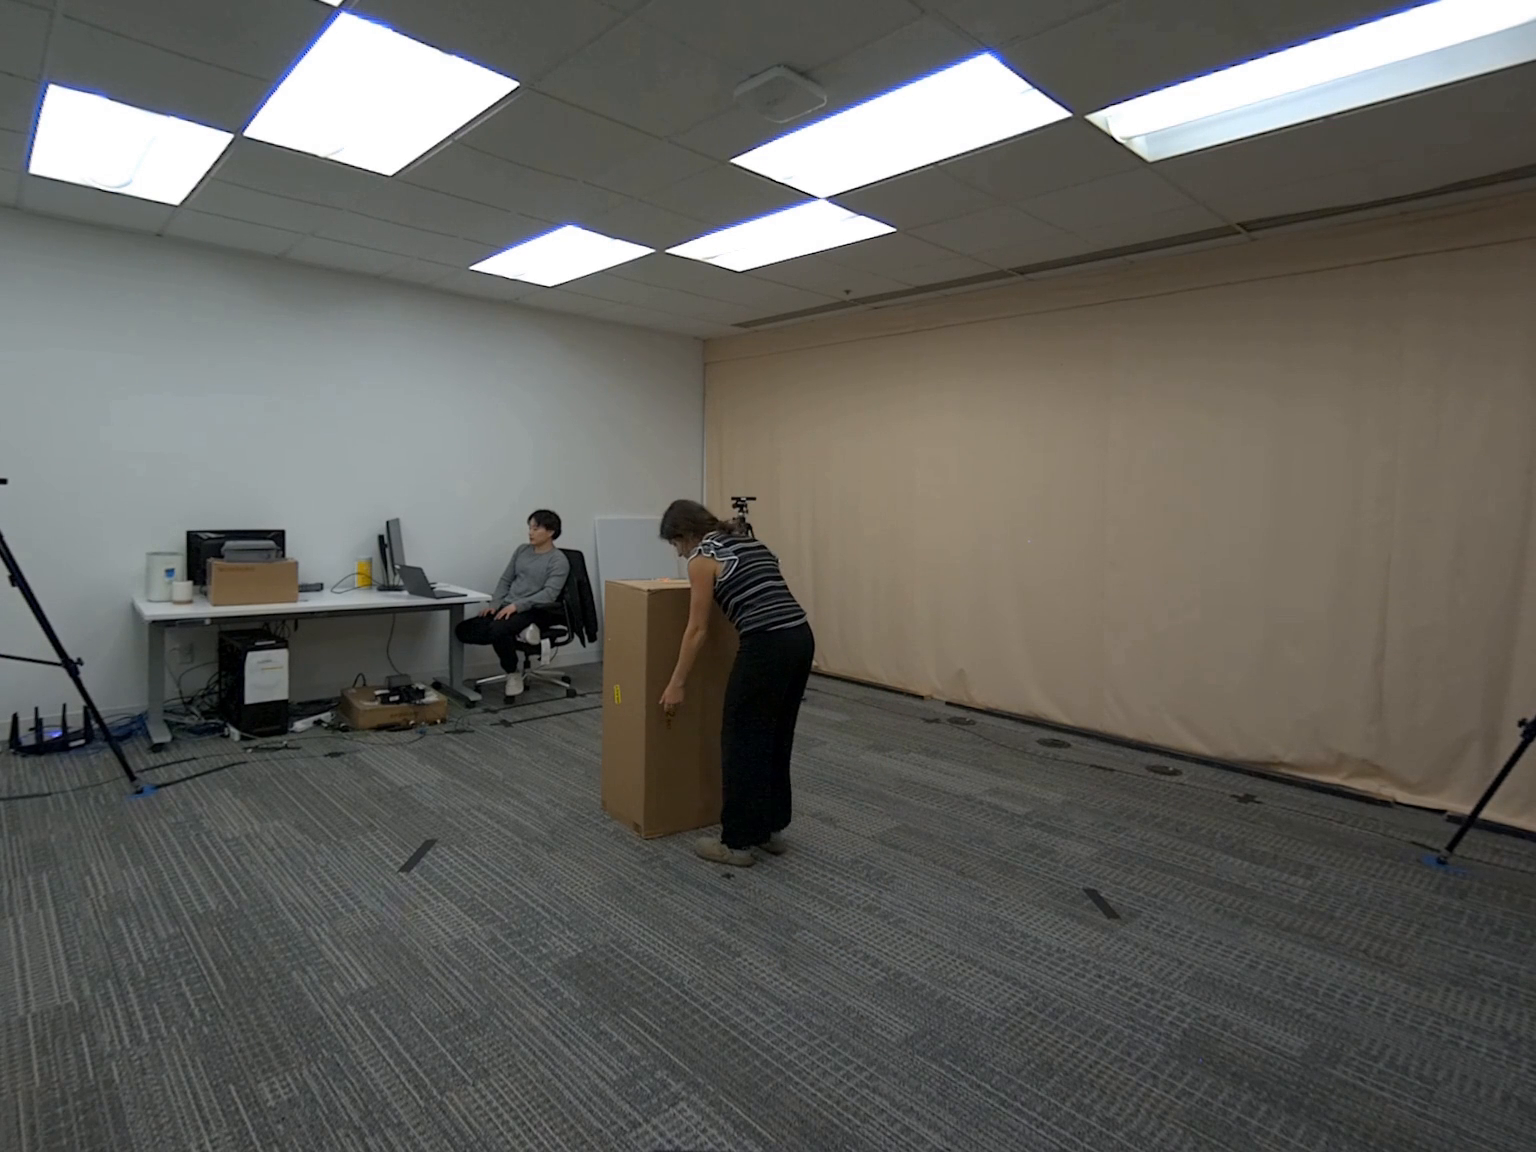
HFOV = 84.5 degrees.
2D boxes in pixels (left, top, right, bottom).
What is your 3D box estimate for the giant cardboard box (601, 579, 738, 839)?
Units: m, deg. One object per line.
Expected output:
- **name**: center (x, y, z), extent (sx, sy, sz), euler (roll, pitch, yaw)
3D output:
- **giant cardboard box**: center (-0.393, 0.539, 3.725), extent (0.565, 1.024, 0.436), euler (0, 3, -34)
